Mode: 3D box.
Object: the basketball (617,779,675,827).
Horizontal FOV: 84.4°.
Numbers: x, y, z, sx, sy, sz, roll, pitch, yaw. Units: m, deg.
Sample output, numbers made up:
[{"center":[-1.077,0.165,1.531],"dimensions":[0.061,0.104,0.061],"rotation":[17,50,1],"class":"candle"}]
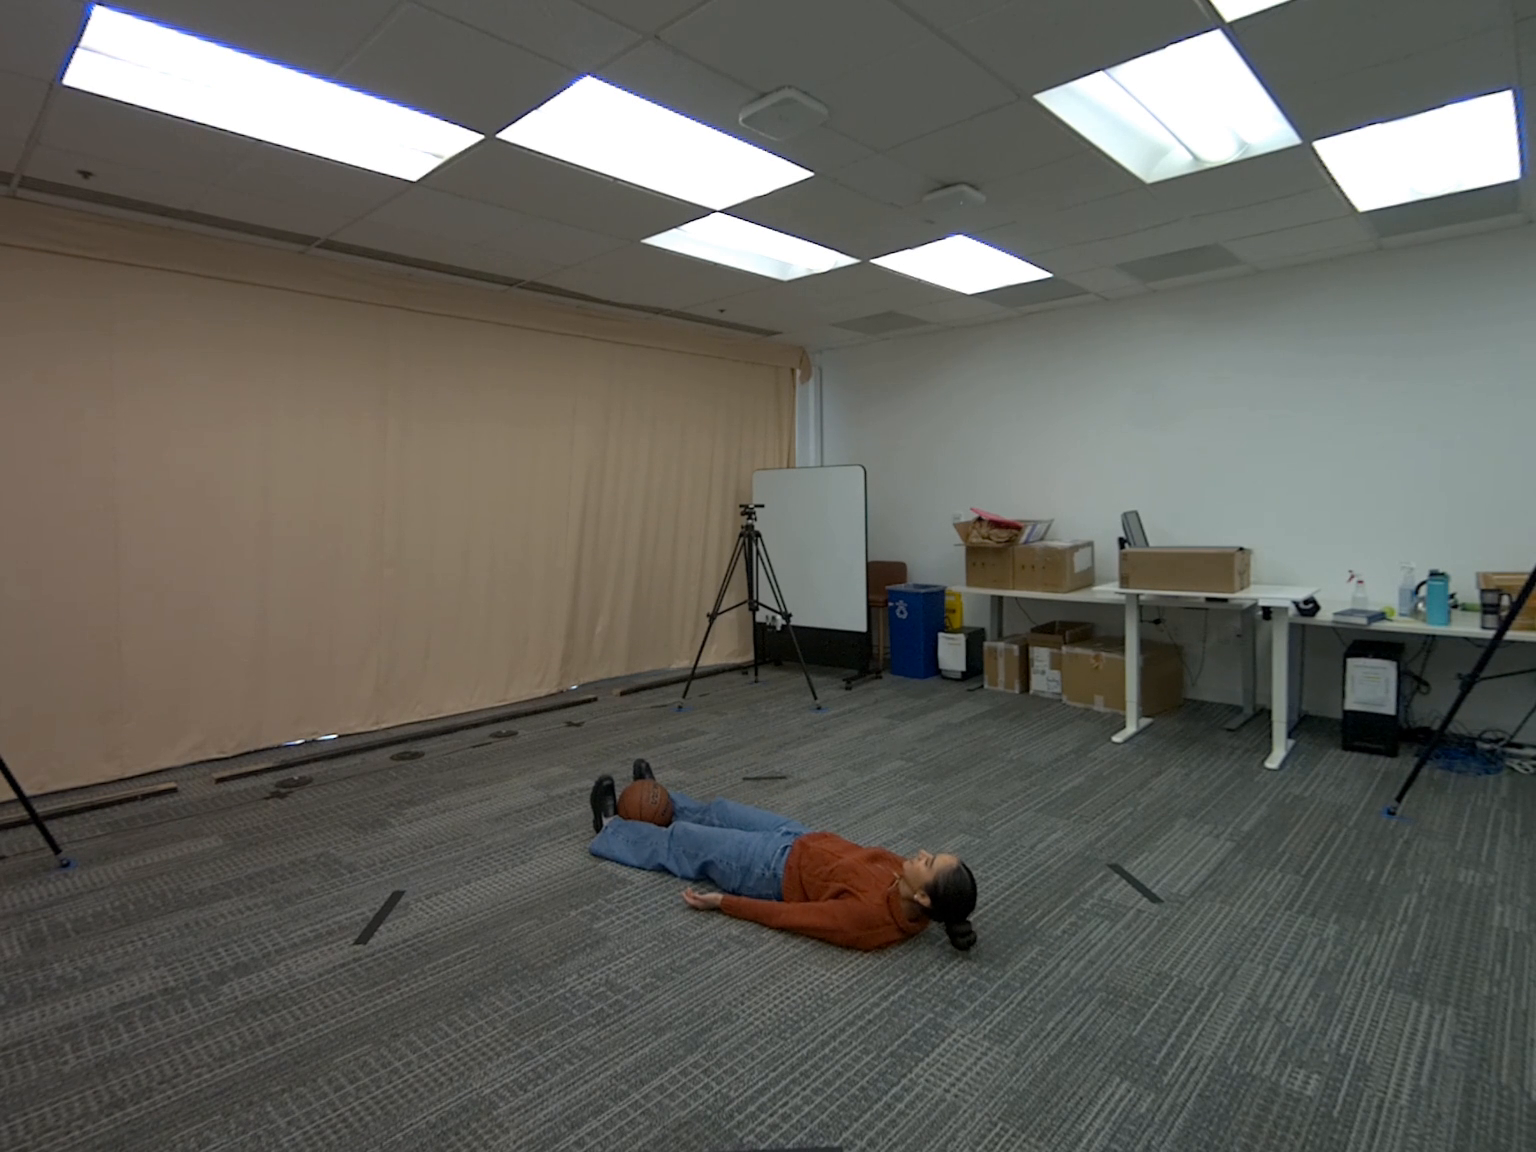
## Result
[{"center":[-0.528,0.989,3.571],"dimensions":[0.236,0.235,0.237],"rotation":[-1,4,-2],"class":"basketball"}]
